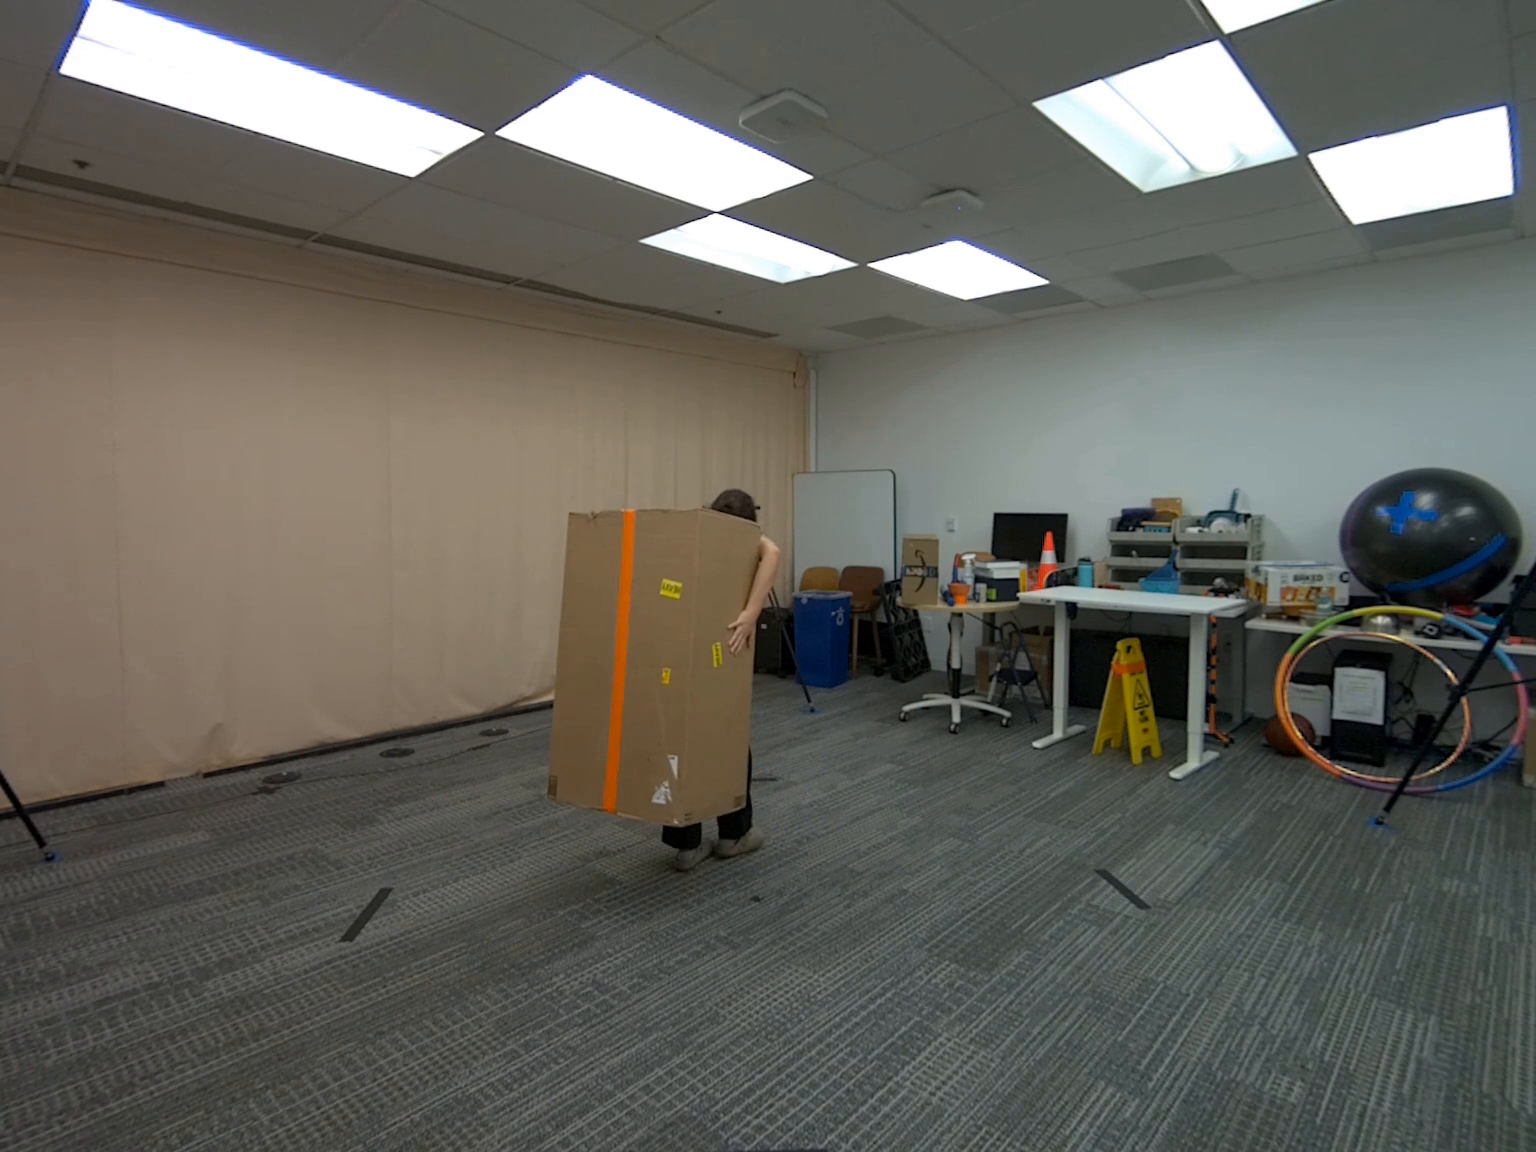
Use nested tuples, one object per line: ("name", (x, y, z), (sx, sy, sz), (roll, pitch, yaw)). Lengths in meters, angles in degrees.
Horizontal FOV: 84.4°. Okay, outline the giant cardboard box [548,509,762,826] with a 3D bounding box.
("giant cardboard box", (-0.404, 0.300, 3.024), (0.594, 1.029, 0.413), (0, -6, 31))
